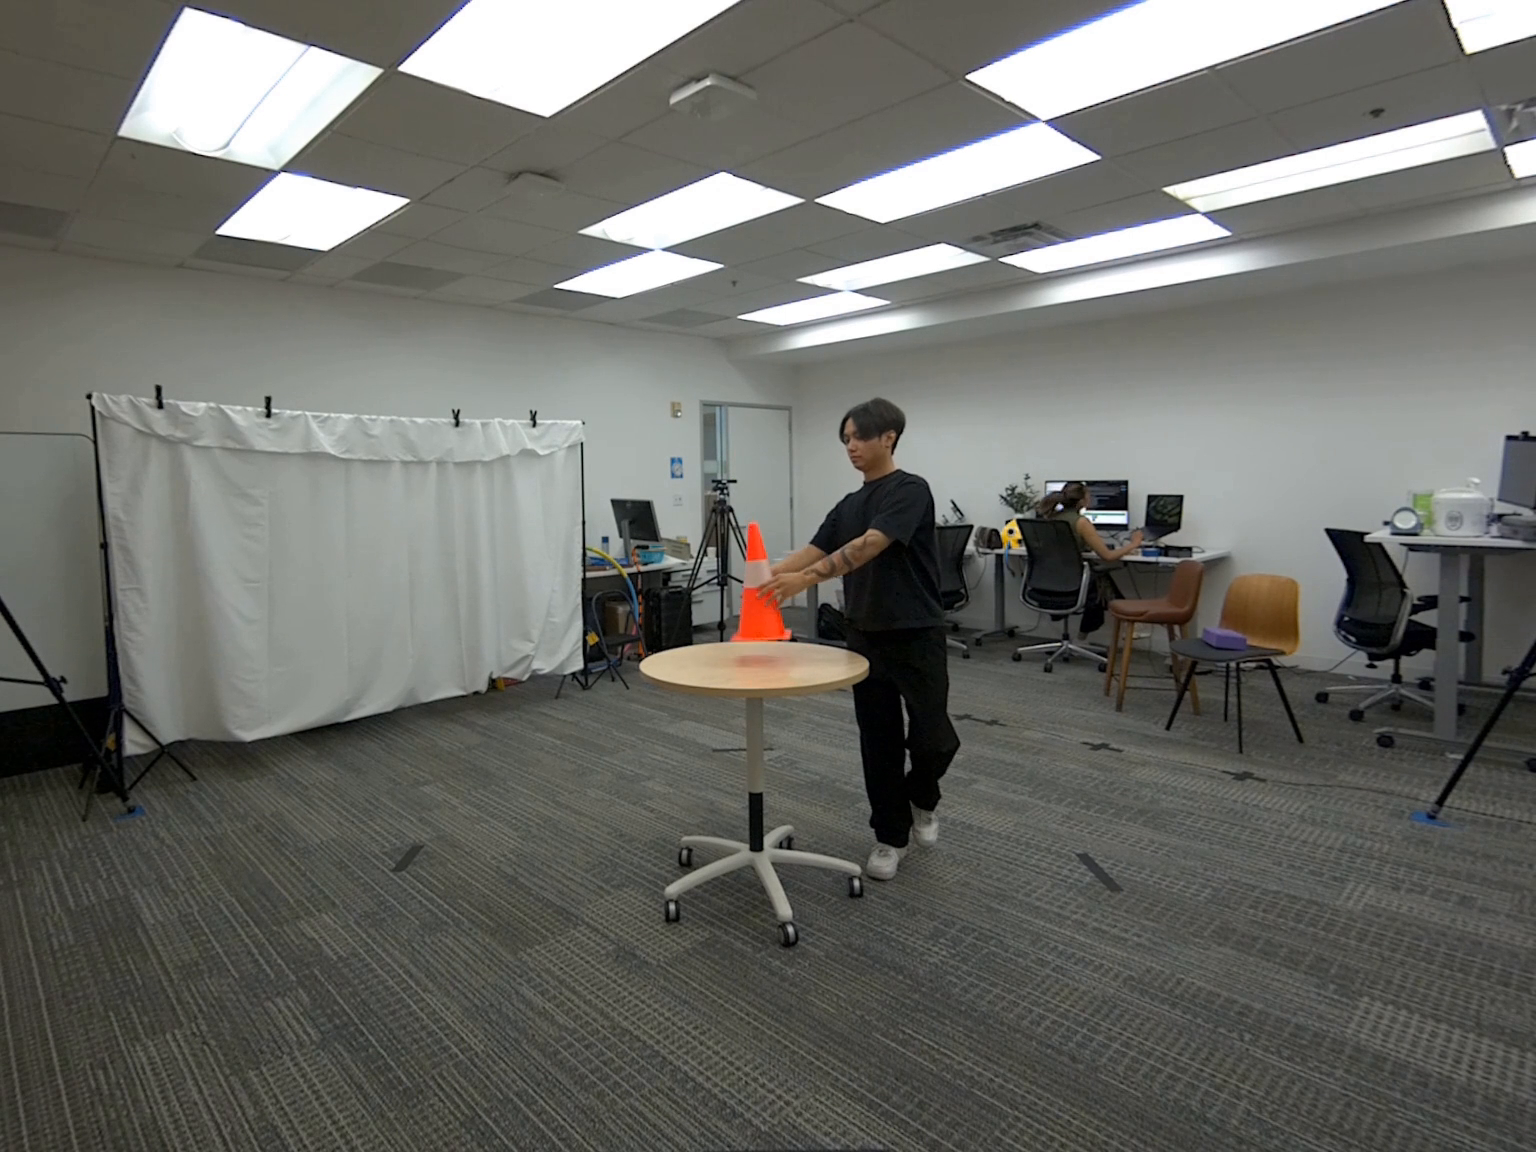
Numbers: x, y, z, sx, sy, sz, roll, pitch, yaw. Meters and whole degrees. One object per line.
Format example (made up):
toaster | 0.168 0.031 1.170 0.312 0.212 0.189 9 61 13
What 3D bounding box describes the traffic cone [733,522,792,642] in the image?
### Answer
traffic cone | -0.034 -0.005 2.870 0.204 0.384 0.204 -6 0 4
